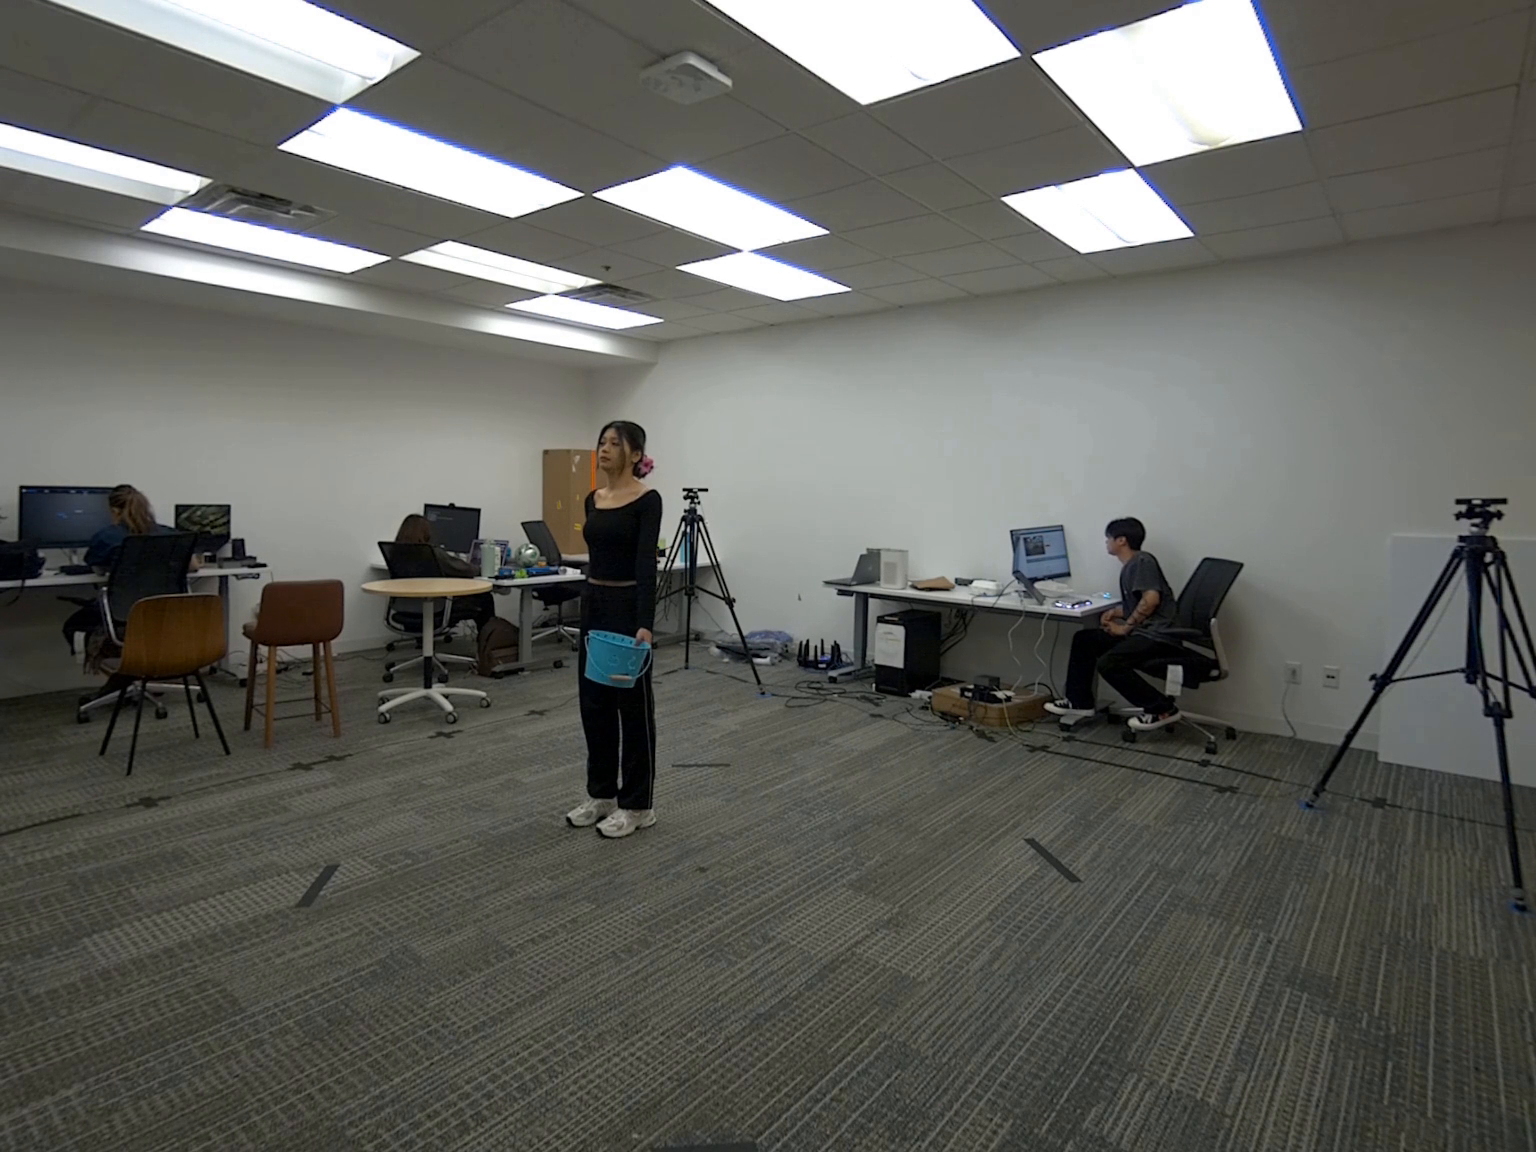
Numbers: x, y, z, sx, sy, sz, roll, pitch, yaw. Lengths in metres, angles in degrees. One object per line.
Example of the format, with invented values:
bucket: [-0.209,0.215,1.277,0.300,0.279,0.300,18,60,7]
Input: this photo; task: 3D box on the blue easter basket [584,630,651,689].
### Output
blue easter basket: [-0.554,0.289,3.042,0.243,0.156,0.244,11,1,-2]
